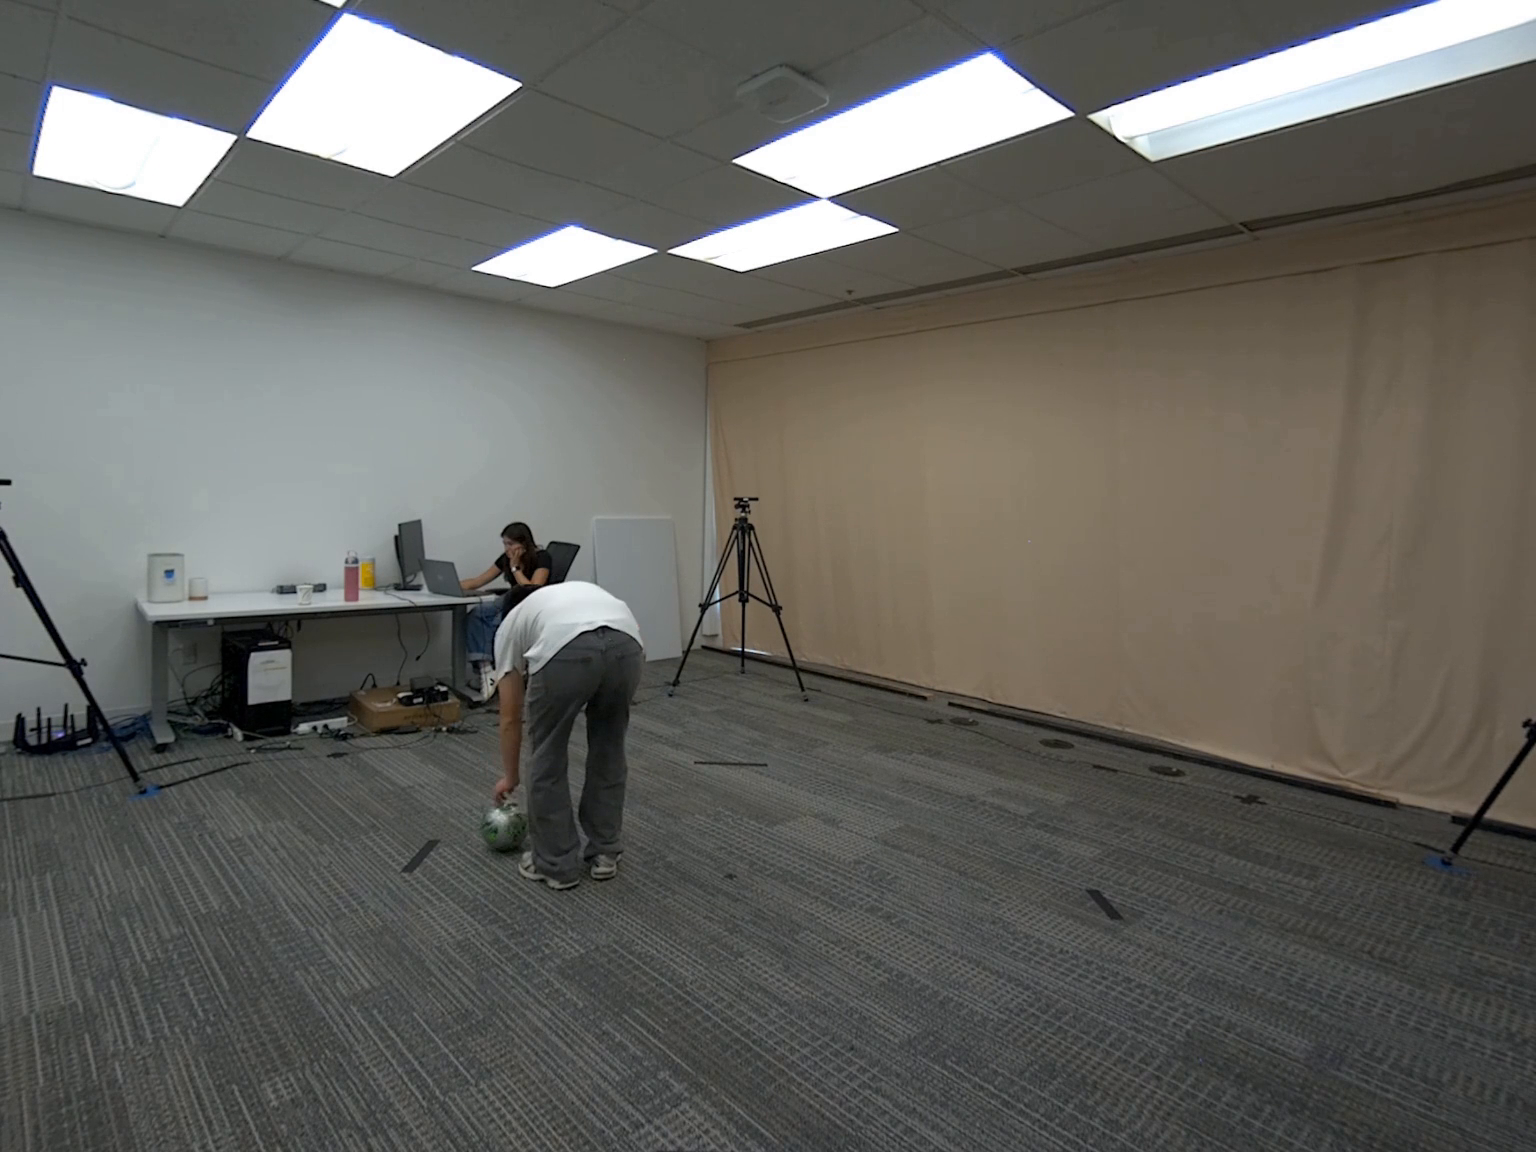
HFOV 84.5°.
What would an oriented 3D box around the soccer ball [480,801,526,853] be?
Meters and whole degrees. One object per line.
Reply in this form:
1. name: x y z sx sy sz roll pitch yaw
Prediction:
1. soccer ball: -1.024 0.980 3.293 0.187 0.187 0.188 1 4 -1
